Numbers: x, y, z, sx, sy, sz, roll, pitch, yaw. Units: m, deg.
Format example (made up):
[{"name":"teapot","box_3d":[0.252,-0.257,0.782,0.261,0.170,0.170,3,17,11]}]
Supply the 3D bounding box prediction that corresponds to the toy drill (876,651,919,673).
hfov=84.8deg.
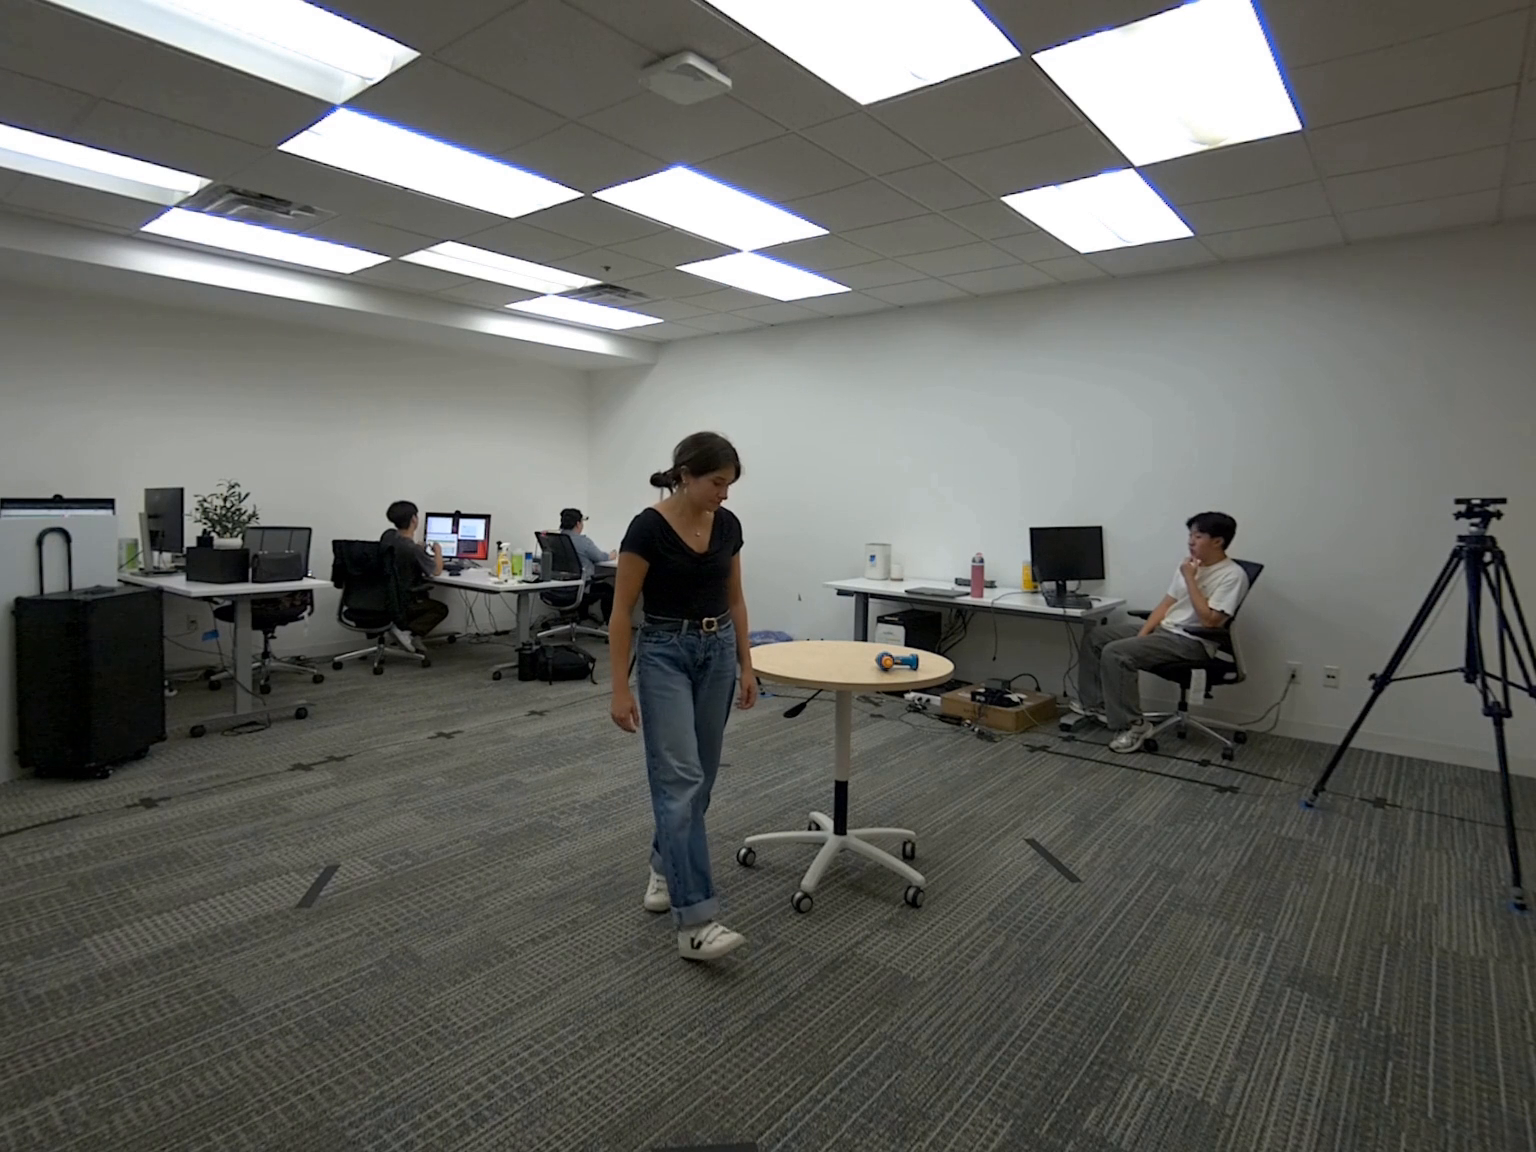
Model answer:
[{"name":"toy drill","box_3d":[0.449,0.286,2.895,0.146,0.061,0.169,2,-1,0]}]
